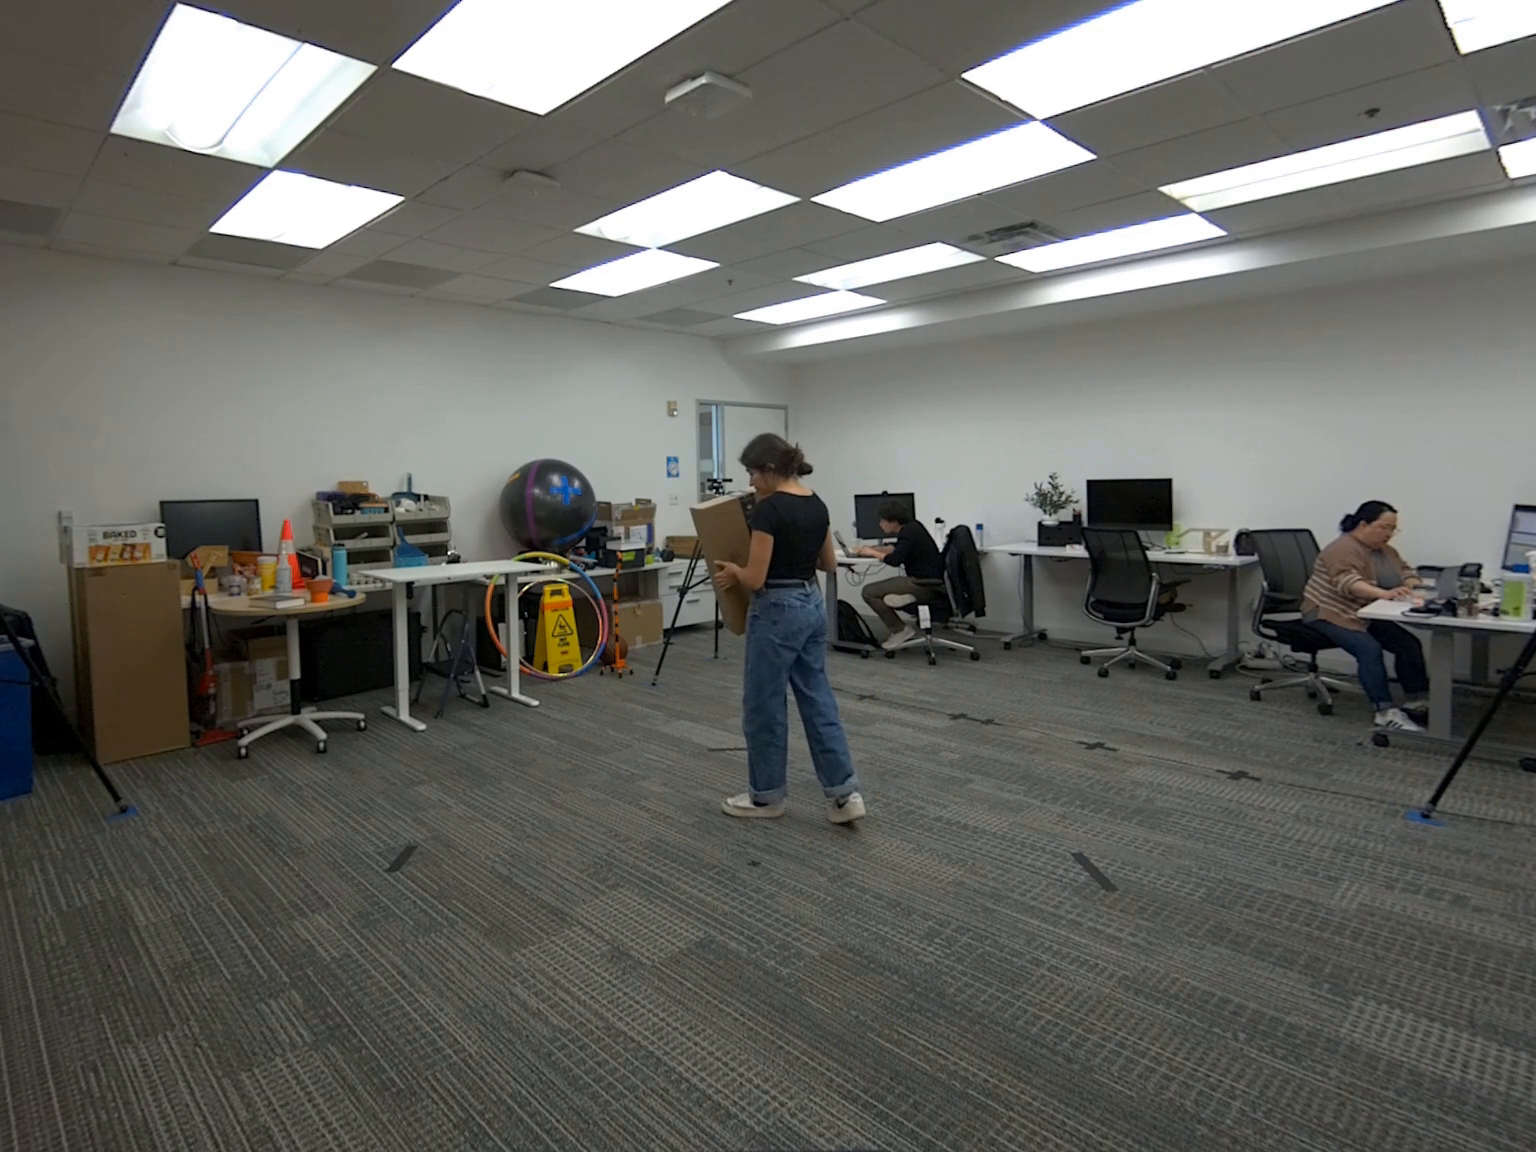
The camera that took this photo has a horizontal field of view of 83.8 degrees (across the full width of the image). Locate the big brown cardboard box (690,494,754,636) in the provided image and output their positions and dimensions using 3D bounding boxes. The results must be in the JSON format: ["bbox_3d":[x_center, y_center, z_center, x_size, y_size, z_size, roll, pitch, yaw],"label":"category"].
[{"bbox_3d":[-0.044,-0.095,3.734,0.414,0.584,0.237,-18,7,-12],"label":"big brown cardboard box"}]
